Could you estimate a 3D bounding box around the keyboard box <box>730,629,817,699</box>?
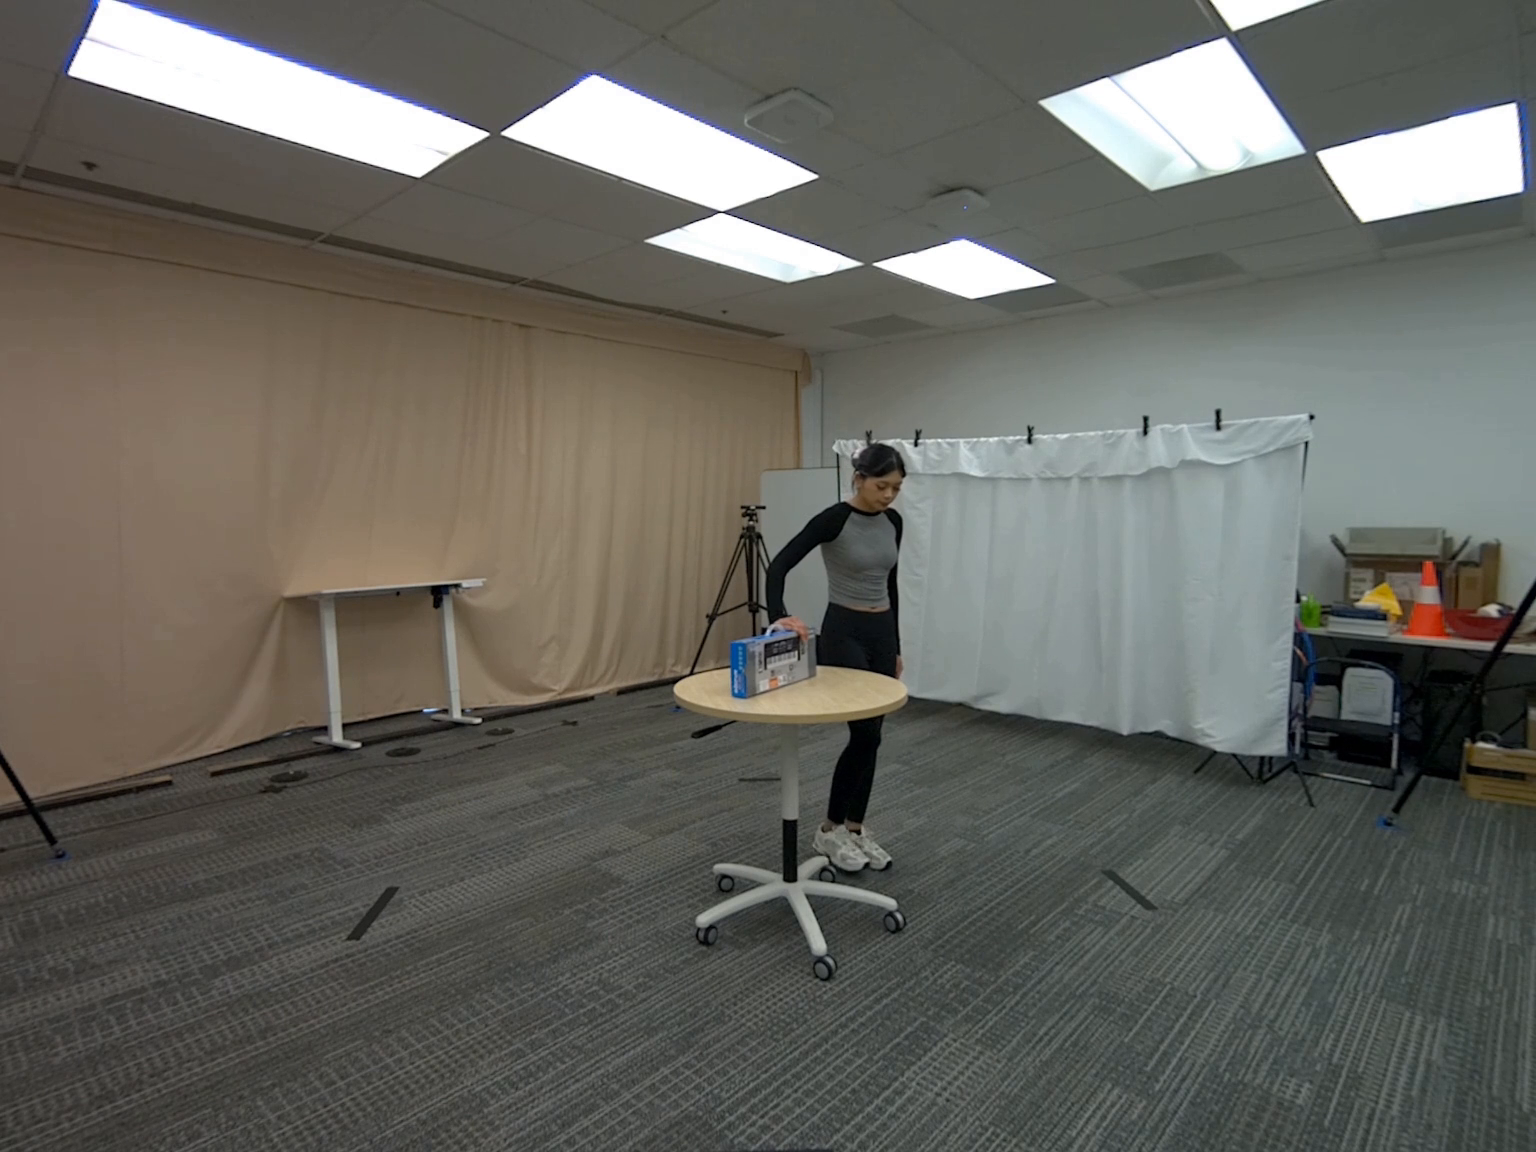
[{"bbox_3d":[0.030,0.281,2.792,0.061,0.175,0.424,1,4,34],"label":"keyboard box"}]
